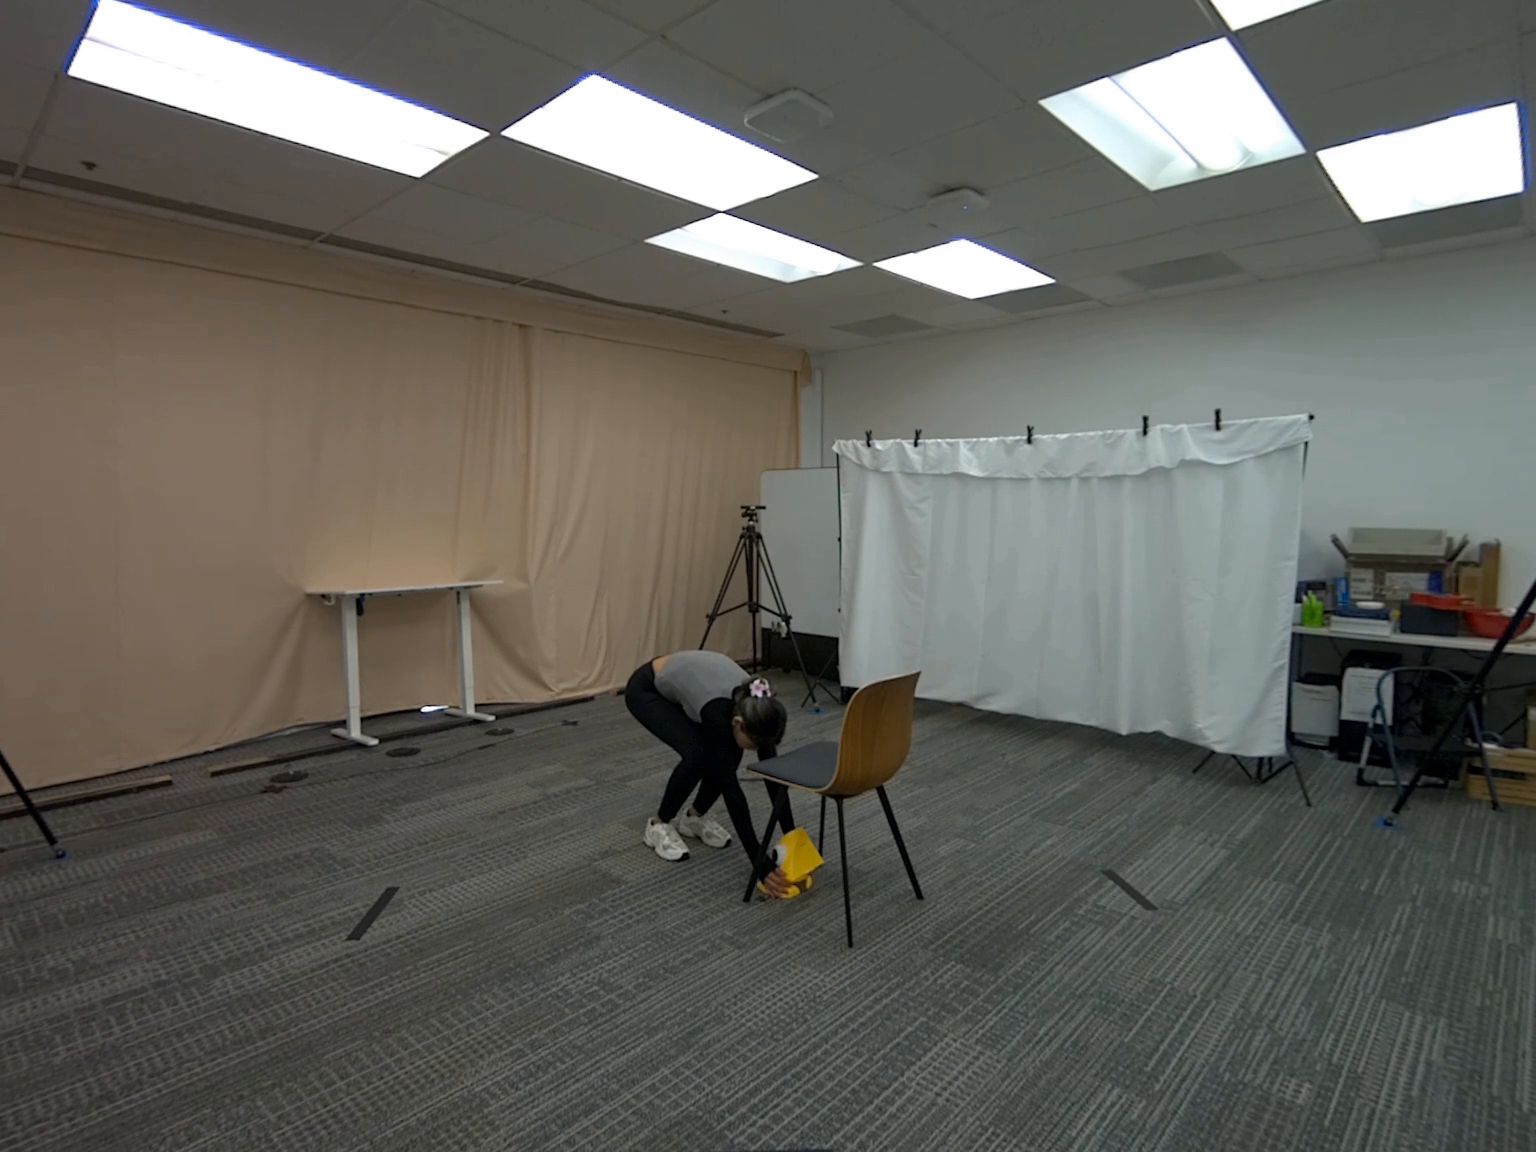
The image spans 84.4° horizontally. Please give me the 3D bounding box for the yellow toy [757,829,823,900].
[{"bbox_3d":[0.073,1.026,3.078,0.199,0.230,0.199,2,4,37],"label":"yellow toy"}]
